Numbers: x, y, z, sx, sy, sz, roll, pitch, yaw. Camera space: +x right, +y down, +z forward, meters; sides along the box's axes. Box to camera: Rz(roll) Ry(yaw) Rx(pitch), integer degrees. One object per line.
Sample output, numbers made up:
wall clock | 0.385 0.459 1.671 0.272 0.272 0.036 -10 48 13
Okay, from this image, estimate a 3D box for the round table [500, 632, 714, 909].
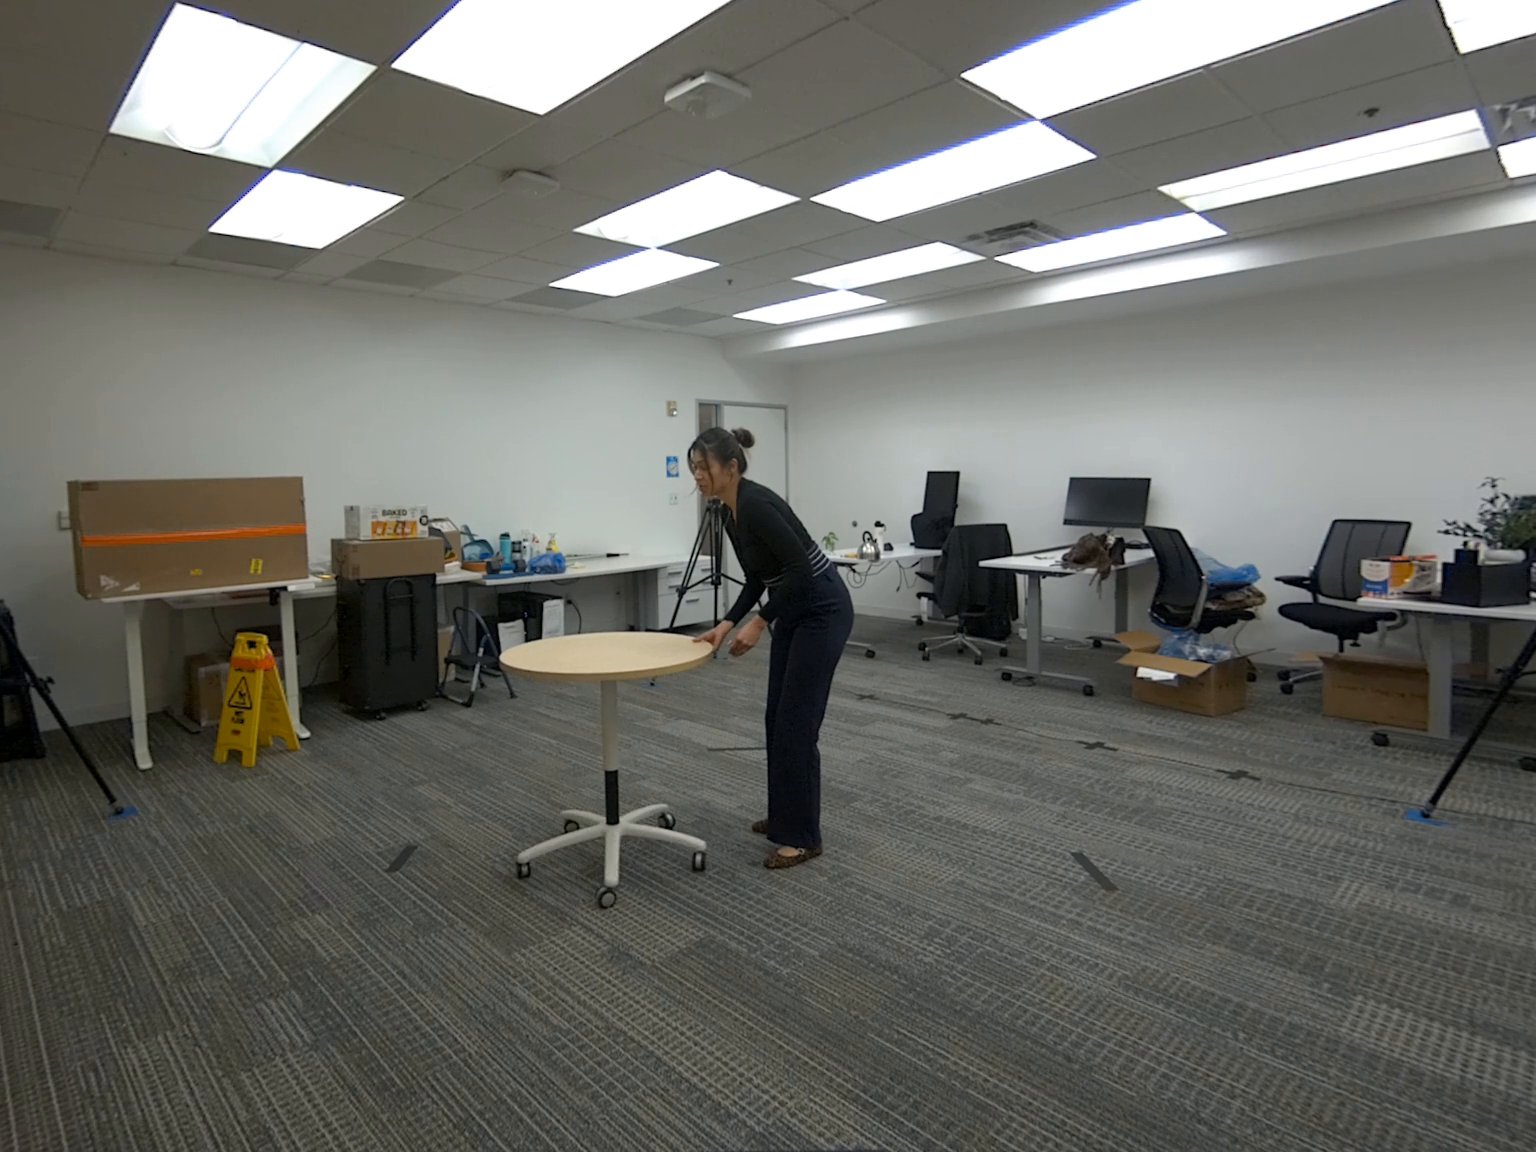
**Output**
round table | -0.571 0.661 3.129 0.763 0.791 0.768 -1 5 -2
